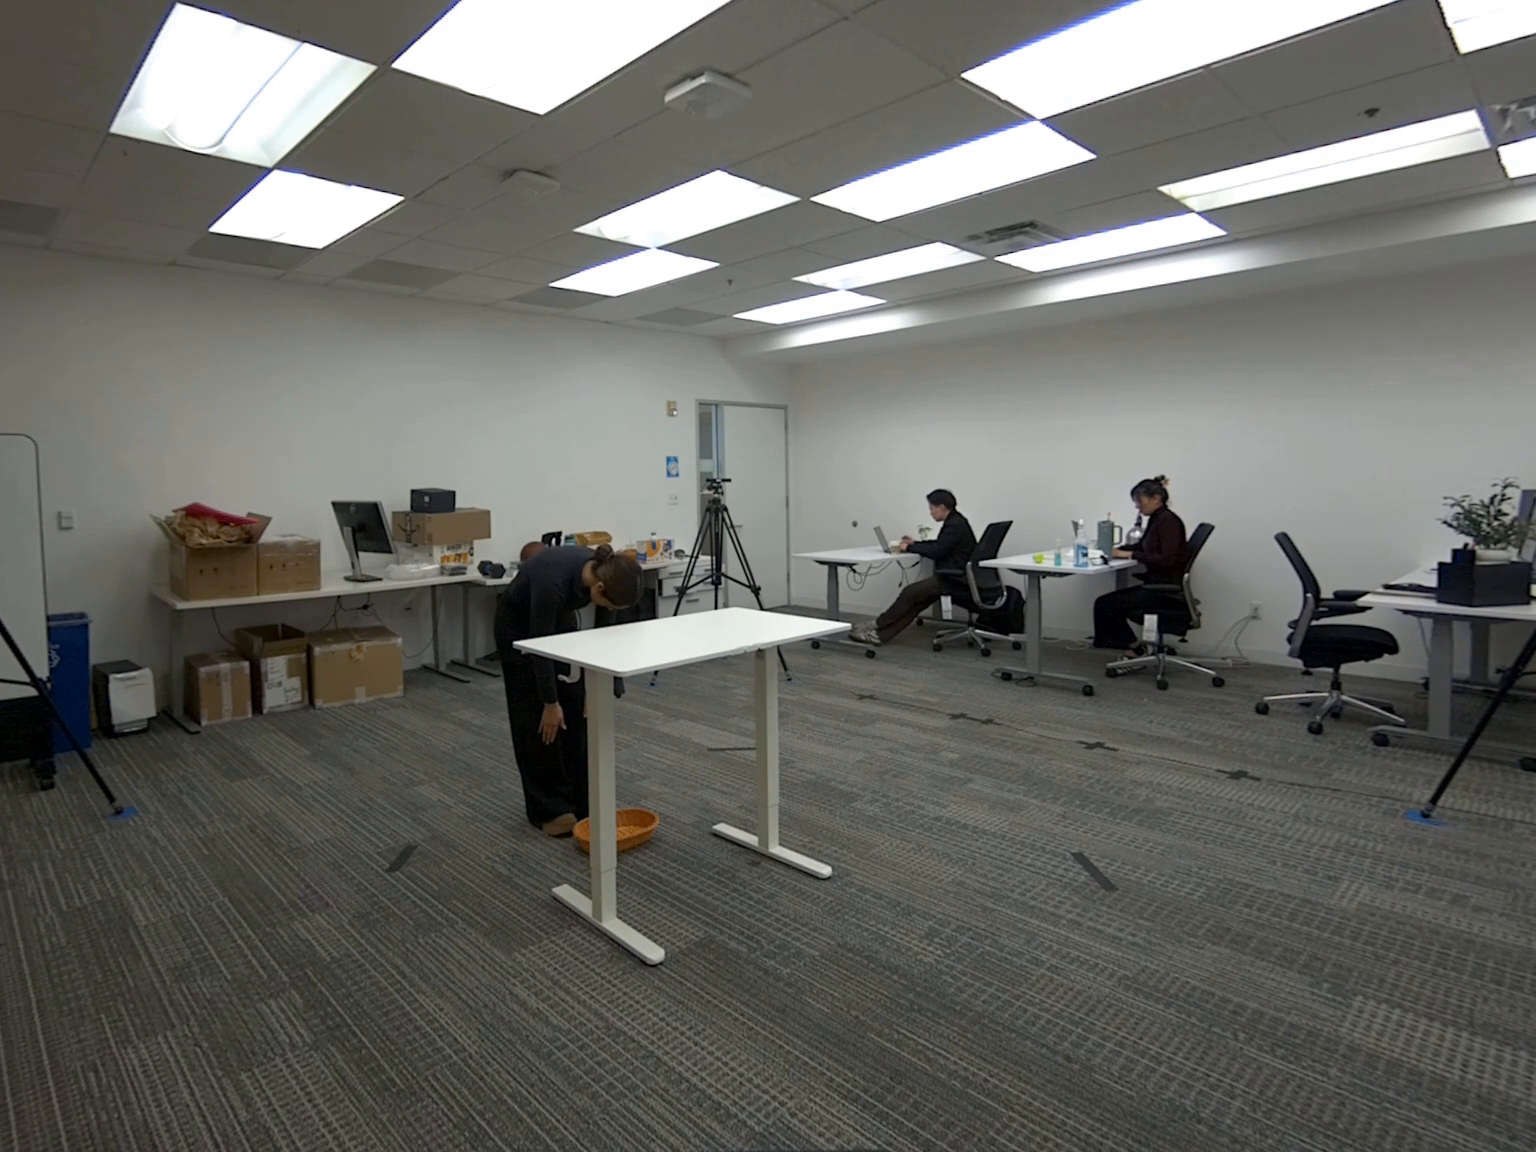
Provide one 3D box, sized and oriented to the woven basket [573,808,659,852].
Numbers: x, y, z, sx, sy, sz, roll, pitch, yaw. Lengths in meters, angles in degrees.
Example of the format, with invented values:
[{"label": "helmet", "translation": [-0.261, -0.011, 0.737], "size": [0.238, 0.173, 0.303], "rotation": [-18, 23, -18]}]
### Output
[{"label": "woven basket", "translation": [-0.584, 0.986, 3.305], "size": [0.341, 0.073, 0.260], "rotation": [-6, 9, -39]}]
